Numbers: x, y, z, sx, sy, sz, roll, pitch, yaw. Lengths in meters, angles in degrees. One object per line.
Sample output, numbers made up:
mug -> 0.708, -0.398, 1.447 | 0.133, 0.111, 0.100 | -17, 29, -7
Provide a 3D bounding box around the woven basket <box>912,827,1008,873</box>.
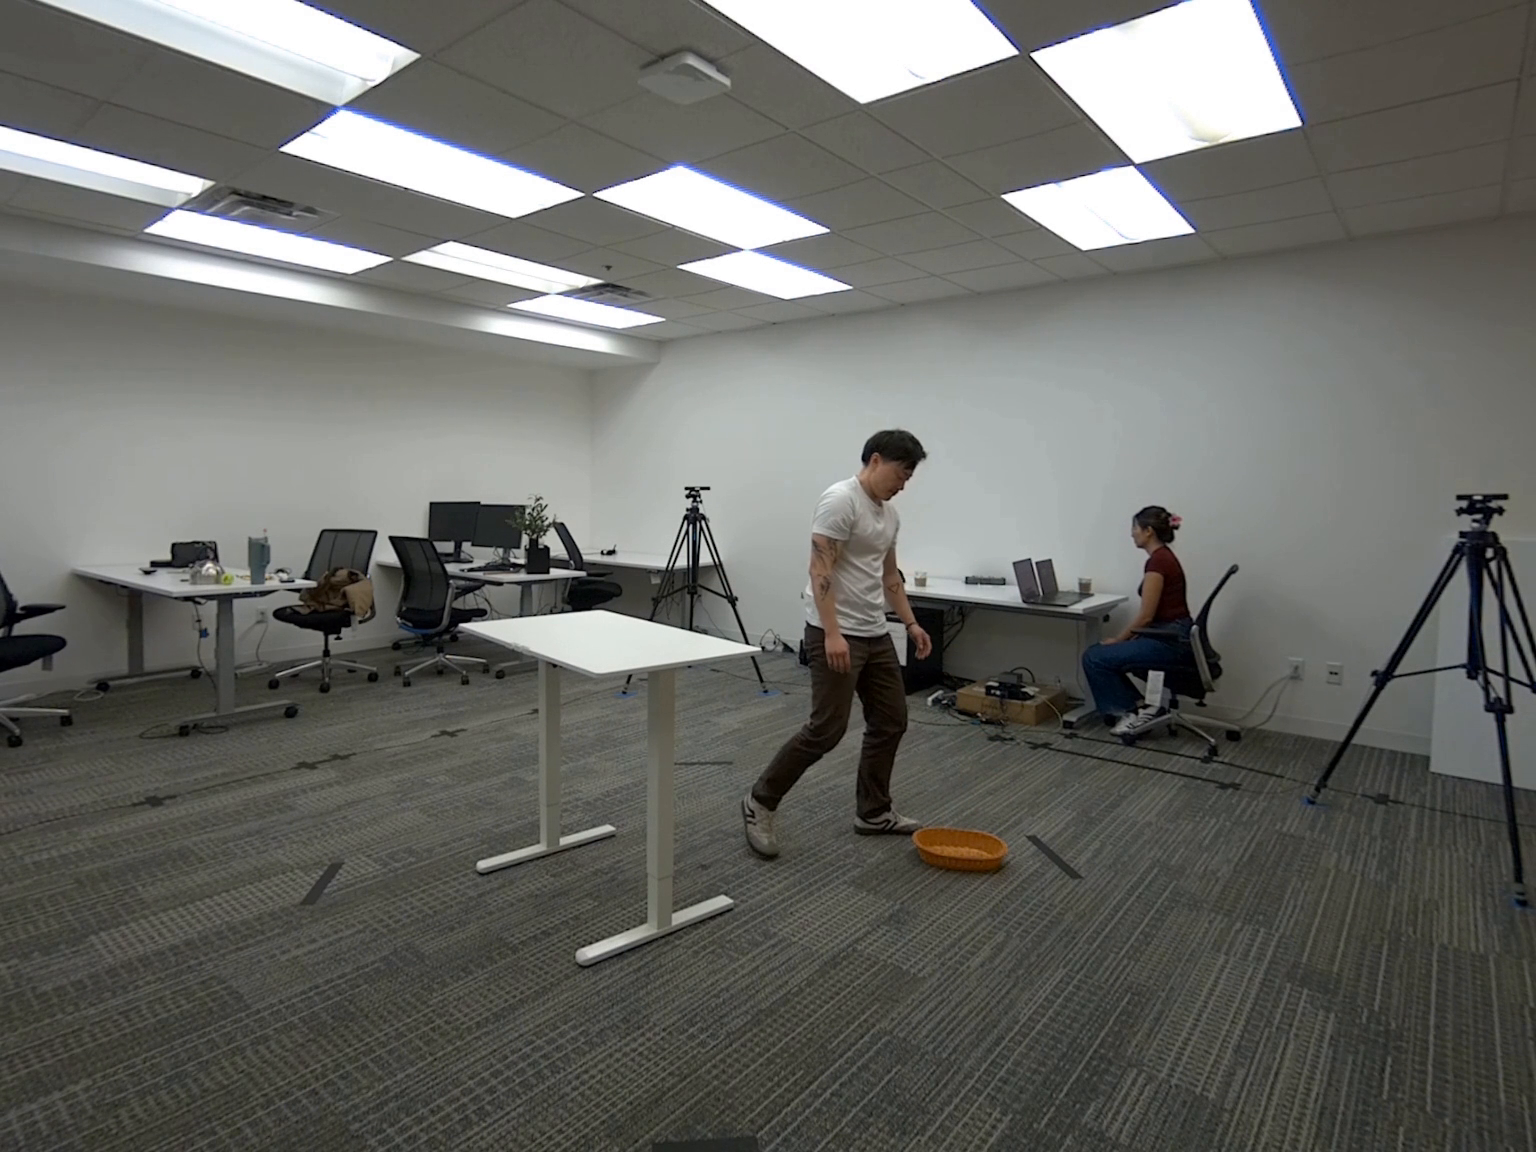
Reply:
woven basket -> 0.713, 1.034, 3.214 | 0.354, 0.073, 0.251 | 2, 6, 8
